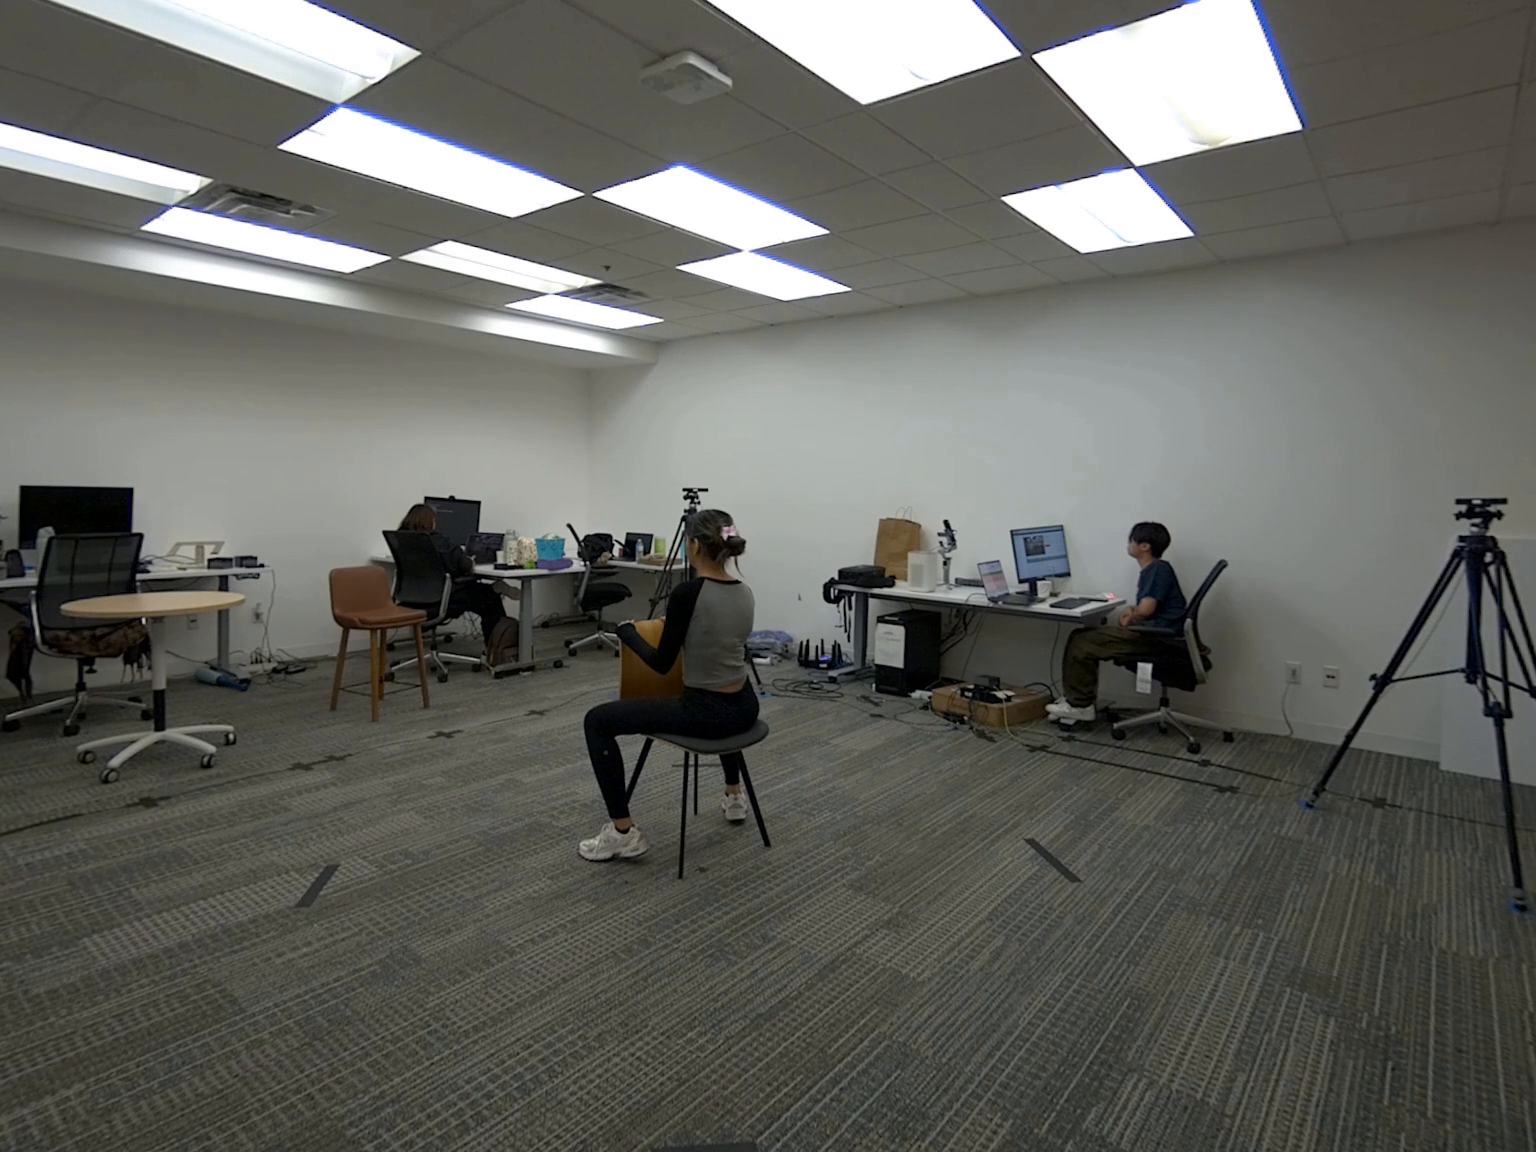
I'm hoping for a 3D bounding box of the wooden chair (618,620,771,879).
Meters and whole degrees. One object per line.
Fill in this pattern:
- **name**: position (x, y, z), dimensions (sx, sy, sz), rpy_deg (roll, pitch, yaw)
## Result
- **wooden chair**: position (-0.302, 0.622, 3.306), dimensions (0.463, 0.878, 0.539), rpy_deg (-2, -1, -43)
